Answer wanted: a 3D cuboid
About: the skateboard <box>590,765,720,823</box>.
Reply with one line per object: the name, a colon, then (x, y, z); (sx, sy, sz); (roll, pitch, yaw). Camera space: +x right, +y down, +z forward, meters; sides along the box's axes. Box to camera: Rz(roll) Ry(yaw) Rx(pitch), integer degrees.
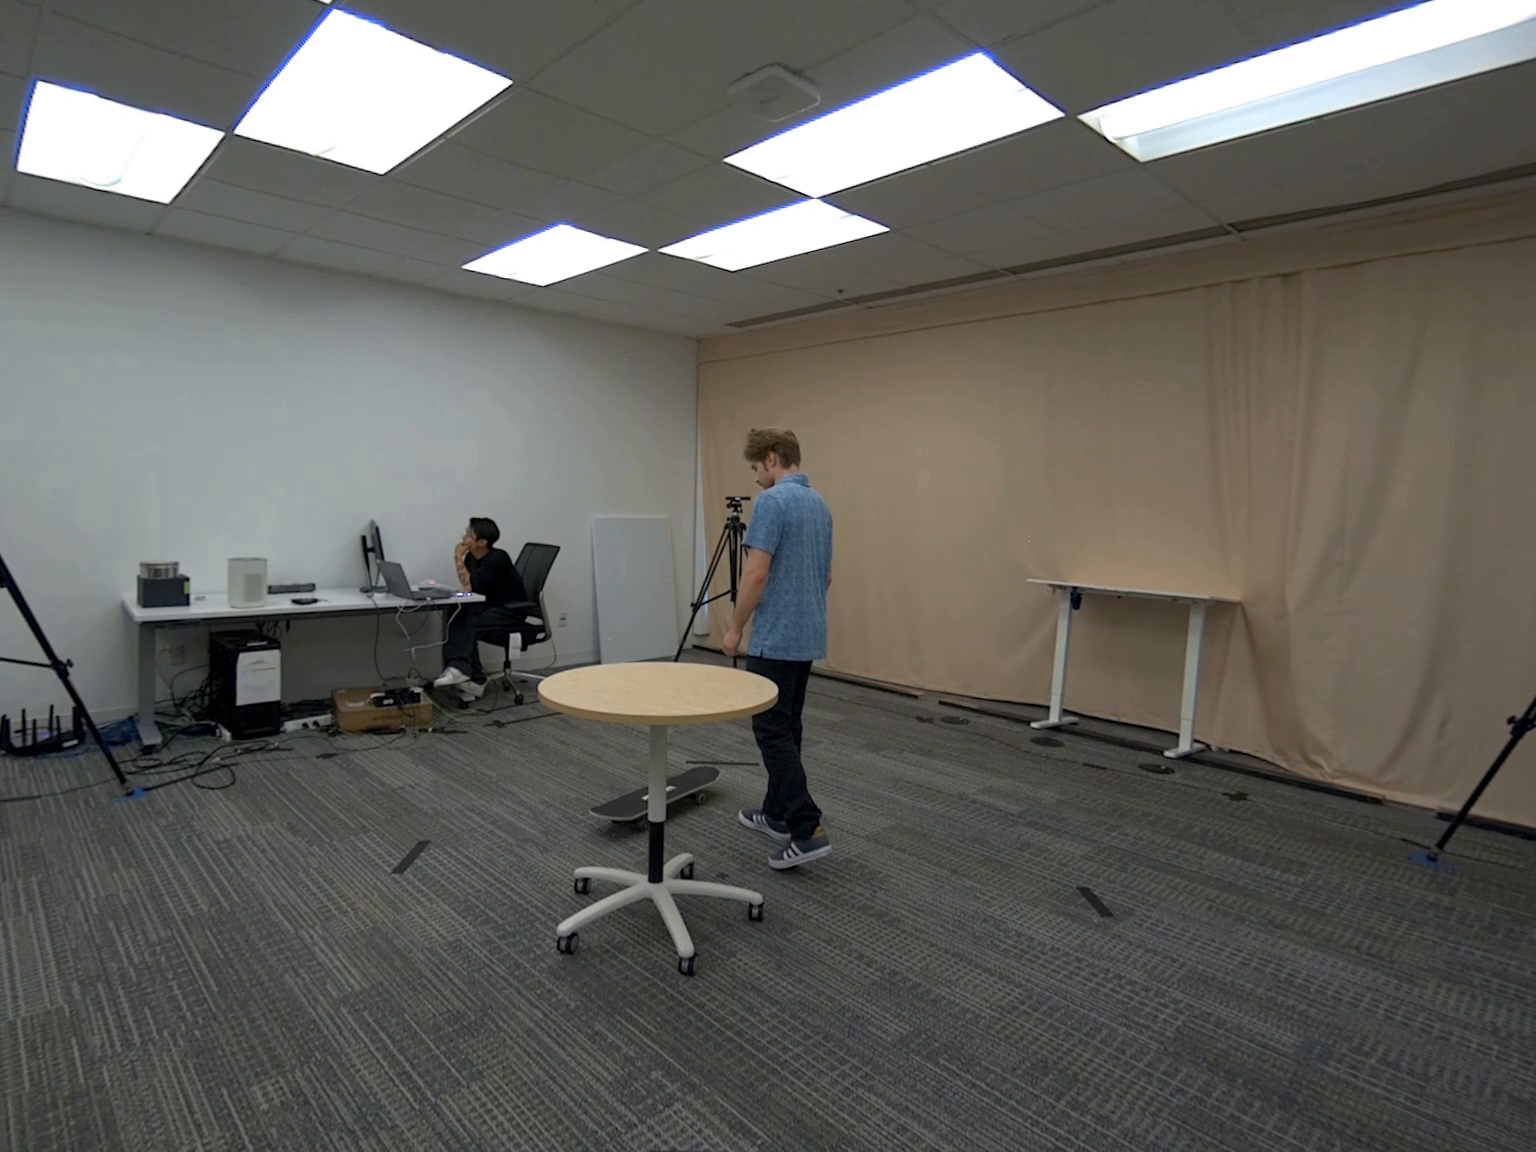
skateboard: (-0.489, 0.985, 3.714); (0.198, 0.110, 0.769); (4, 5, 32)
